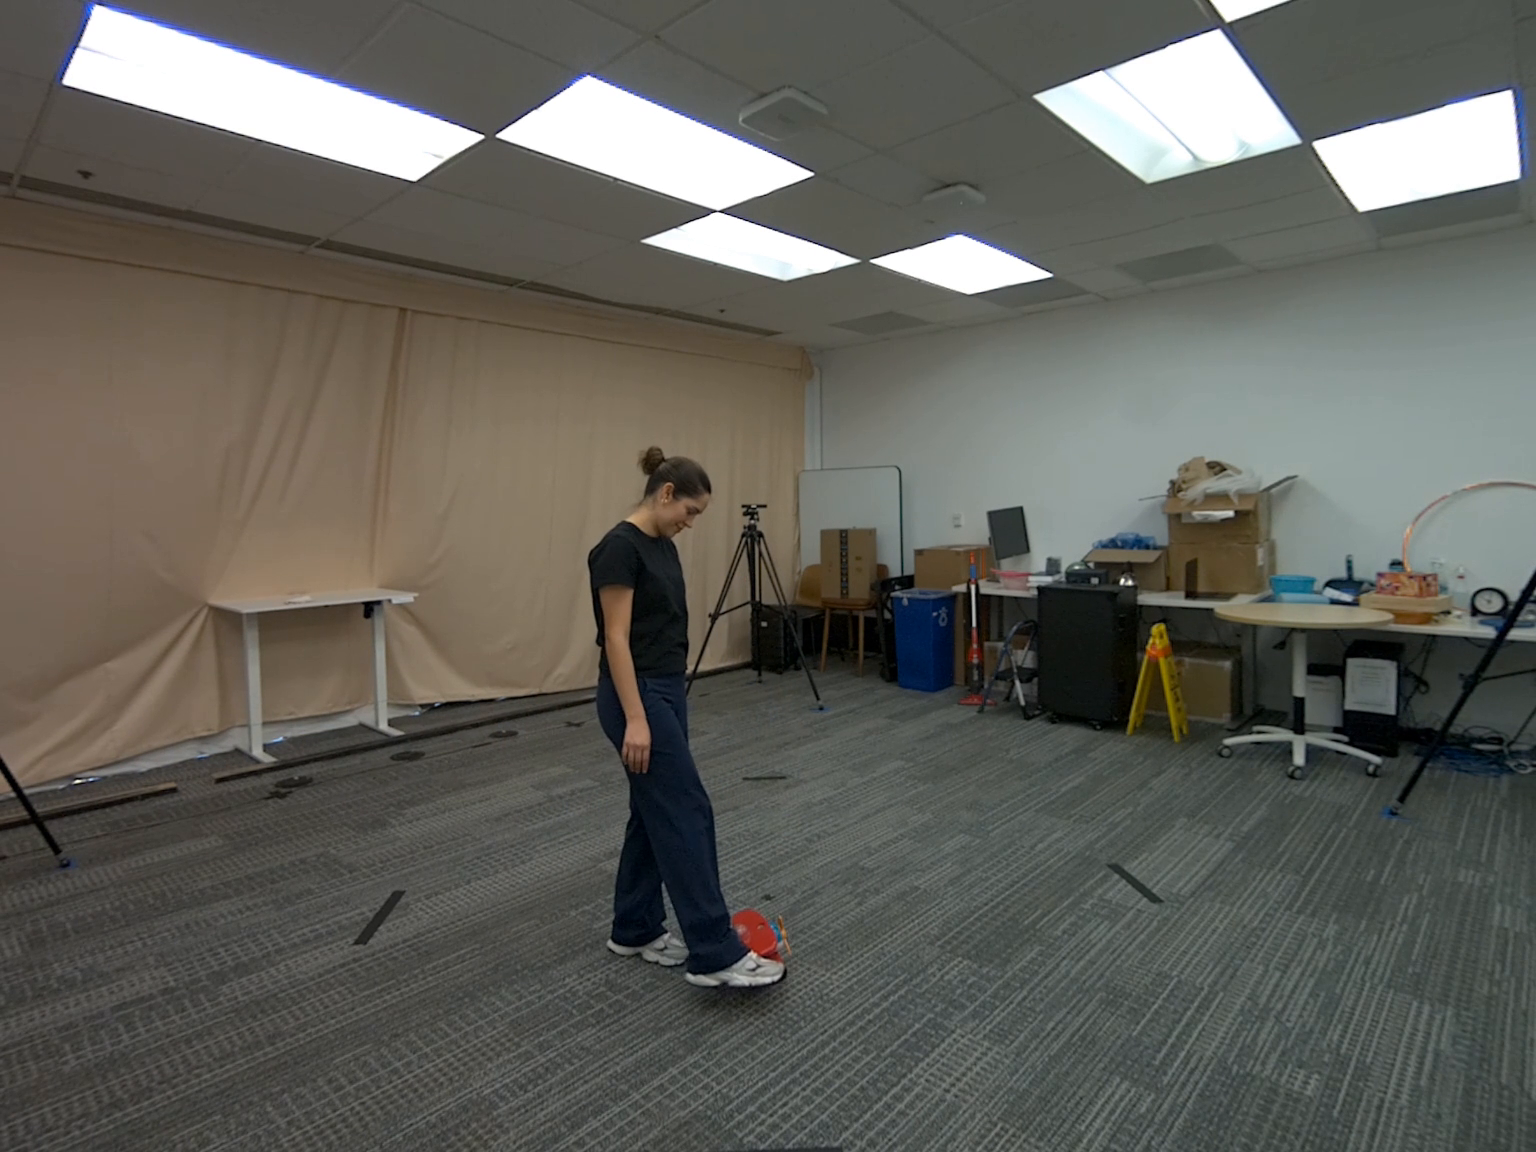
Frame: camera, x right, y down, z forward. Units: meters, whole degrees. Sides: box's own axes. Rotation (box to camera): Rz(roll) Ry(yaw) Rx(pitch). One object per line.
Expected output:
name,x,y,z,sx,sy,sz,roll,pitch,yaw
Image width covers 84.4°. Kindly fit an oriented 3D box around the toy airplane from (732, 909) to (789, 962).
toy airplane,-0.040,1.114,2.454,0.251,0.156,0.259,-4,4,-45
